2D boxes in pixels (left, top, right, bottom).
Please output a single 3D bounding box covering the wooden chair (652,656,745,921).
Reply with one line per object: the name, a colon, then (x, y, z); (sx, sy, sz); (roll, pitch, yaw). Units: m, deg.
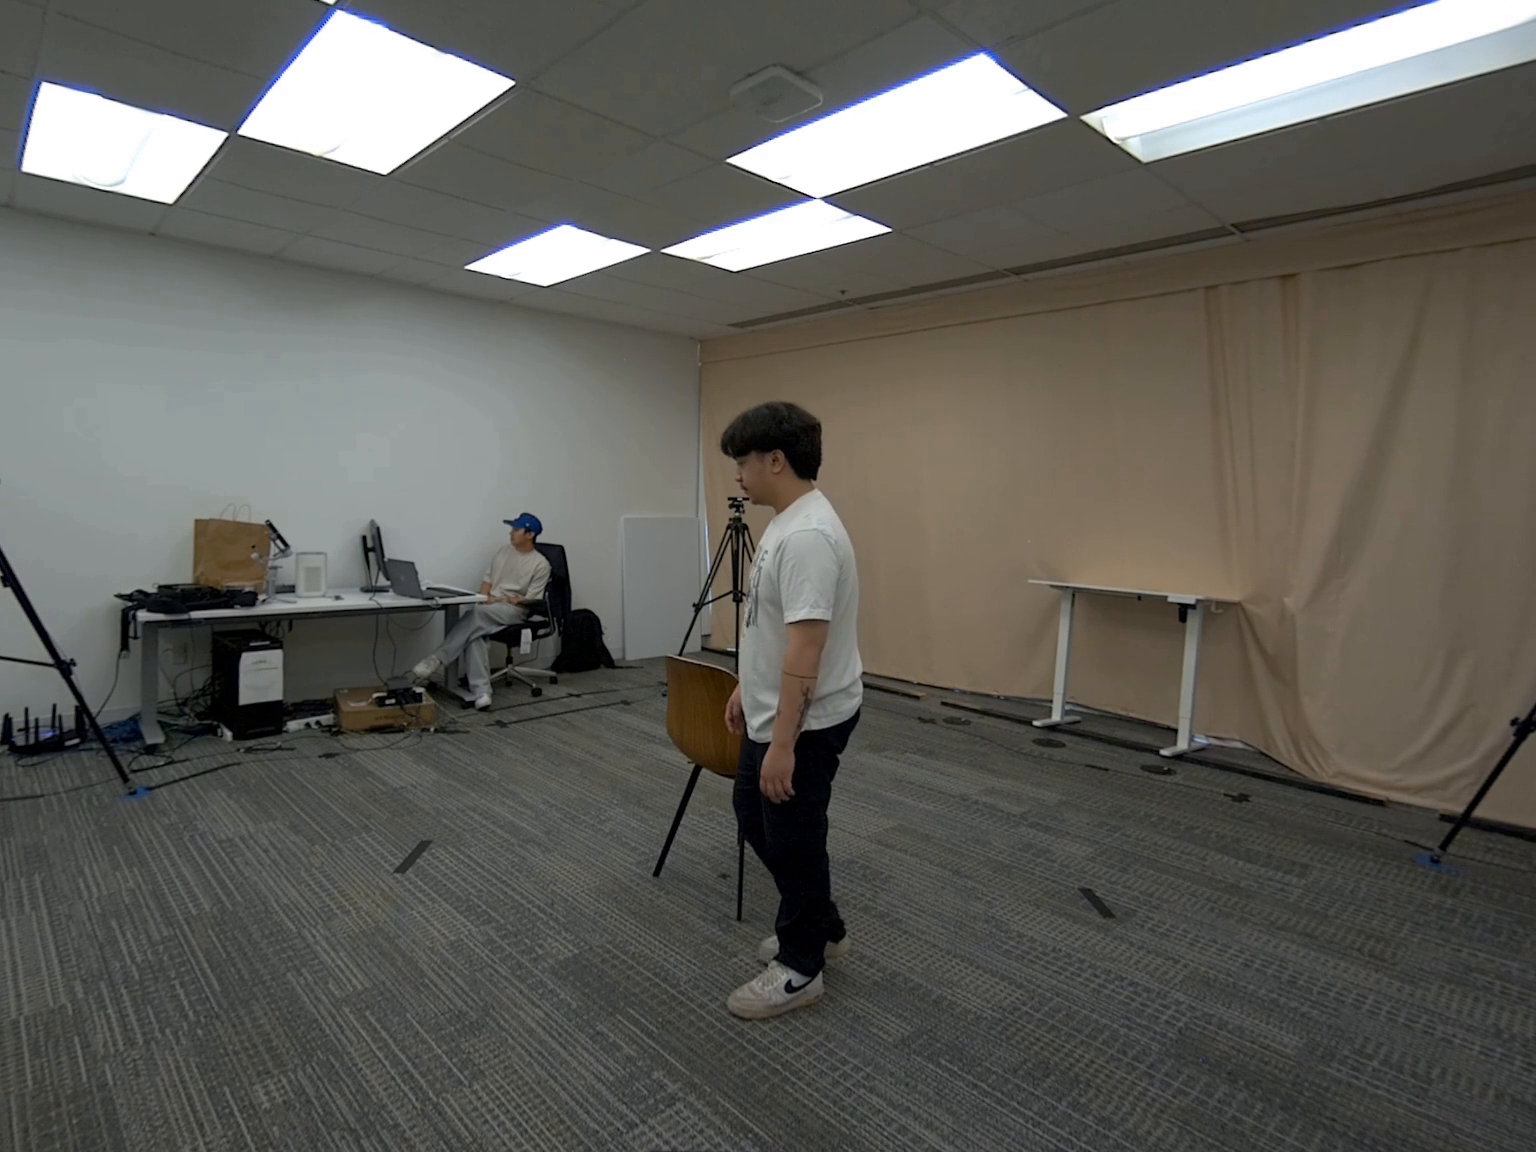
wooden chair: (-0.094, 0.686, 3.064); (0.490, 0.873, 0.512); (5, 8, 44)
